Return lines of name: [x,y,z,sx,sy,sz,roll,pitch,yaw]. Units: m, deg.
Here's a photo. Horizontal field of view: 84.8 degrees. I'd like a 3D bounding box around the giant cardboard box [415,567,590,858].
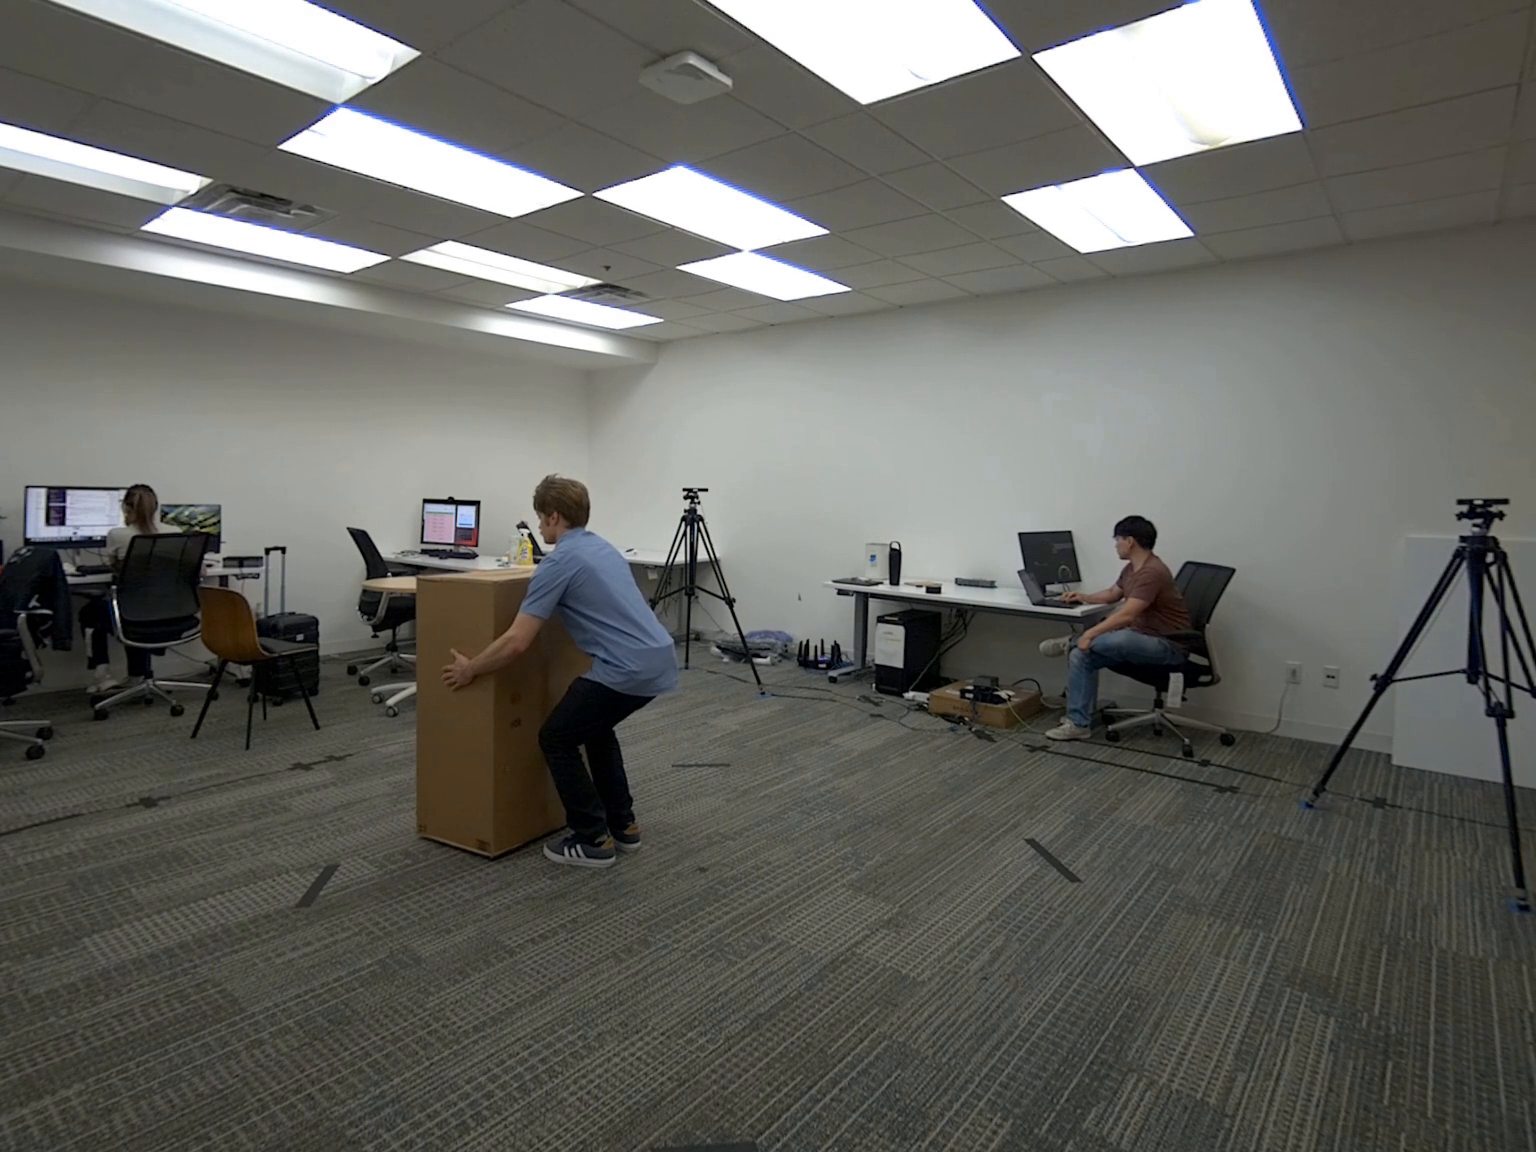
giant cardboard box: [-1.078,0.501,3.463,0.438,1.024,0.562,2,2,30]
